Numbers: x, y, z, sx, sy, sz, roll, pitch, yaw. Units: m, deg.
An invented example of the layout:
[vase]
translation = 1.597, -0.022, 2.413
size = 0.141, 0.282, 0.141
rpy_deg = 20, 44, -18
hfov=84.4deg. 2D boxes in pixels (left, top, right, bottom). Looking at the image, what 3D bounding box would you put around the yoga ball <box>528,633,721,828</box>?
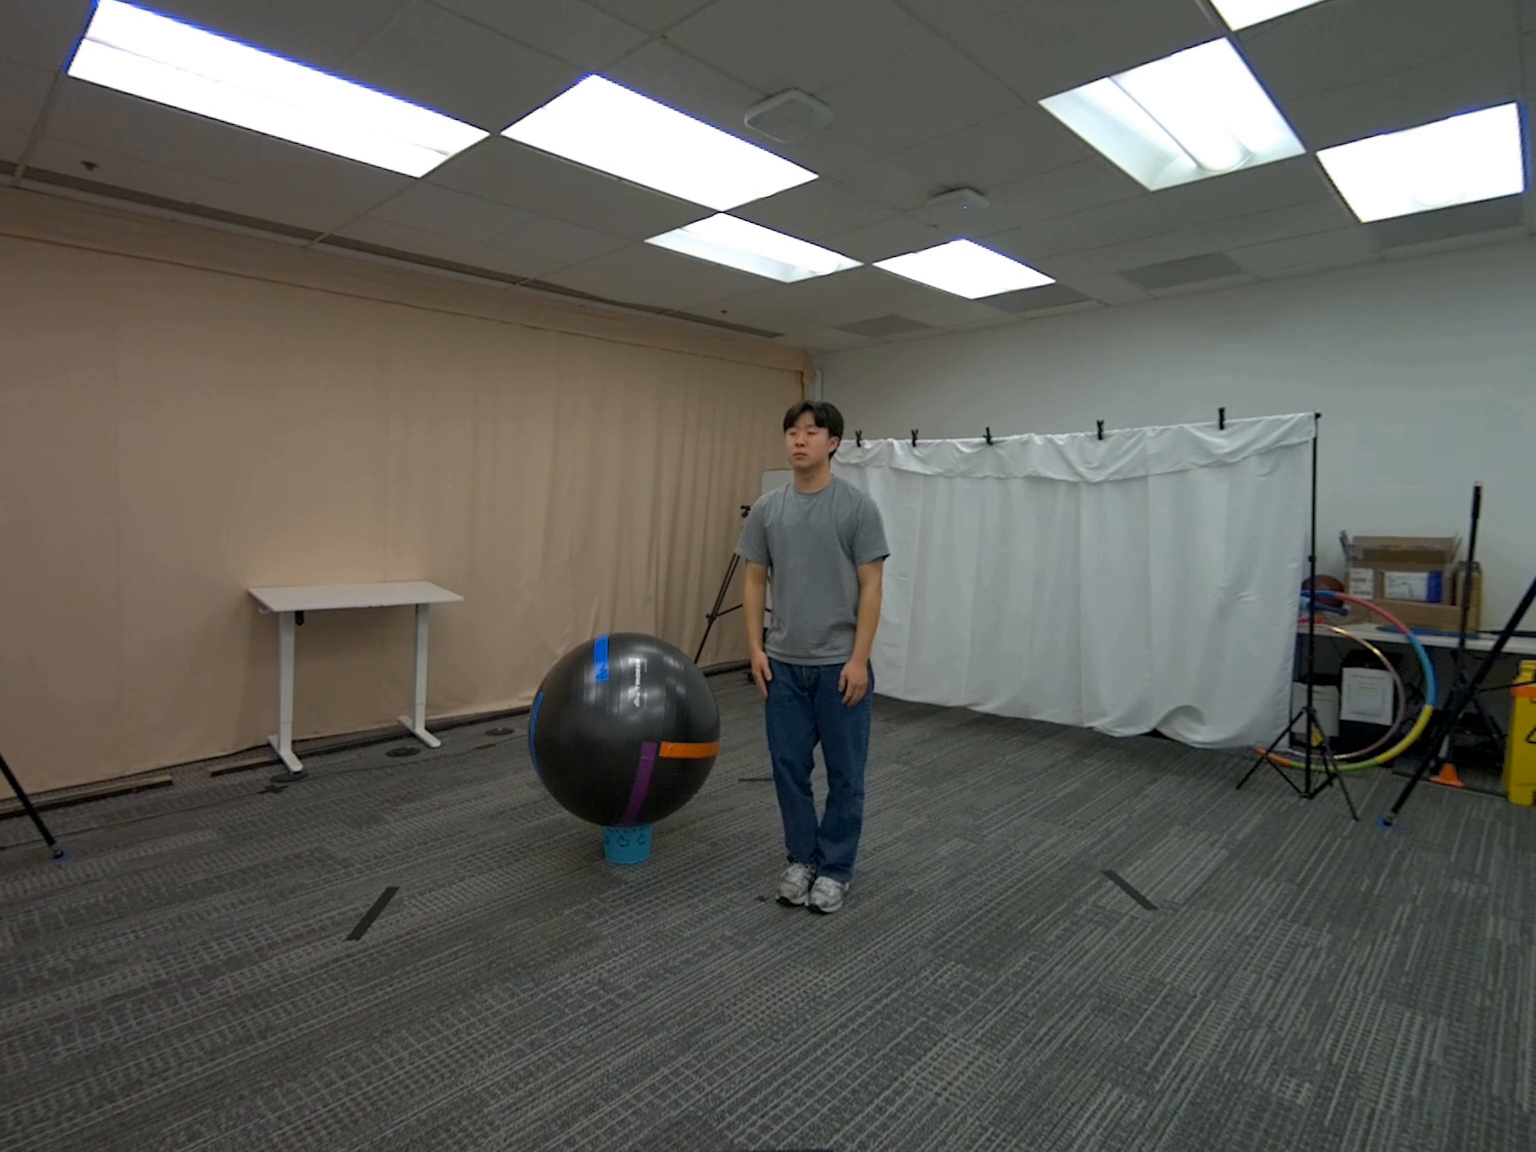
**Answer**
[yoga ball]
translation = -0.573, 0.609, 3.366
size = 0.757, 0.756, 0.761
rpy_deg = 0, 4, -2
